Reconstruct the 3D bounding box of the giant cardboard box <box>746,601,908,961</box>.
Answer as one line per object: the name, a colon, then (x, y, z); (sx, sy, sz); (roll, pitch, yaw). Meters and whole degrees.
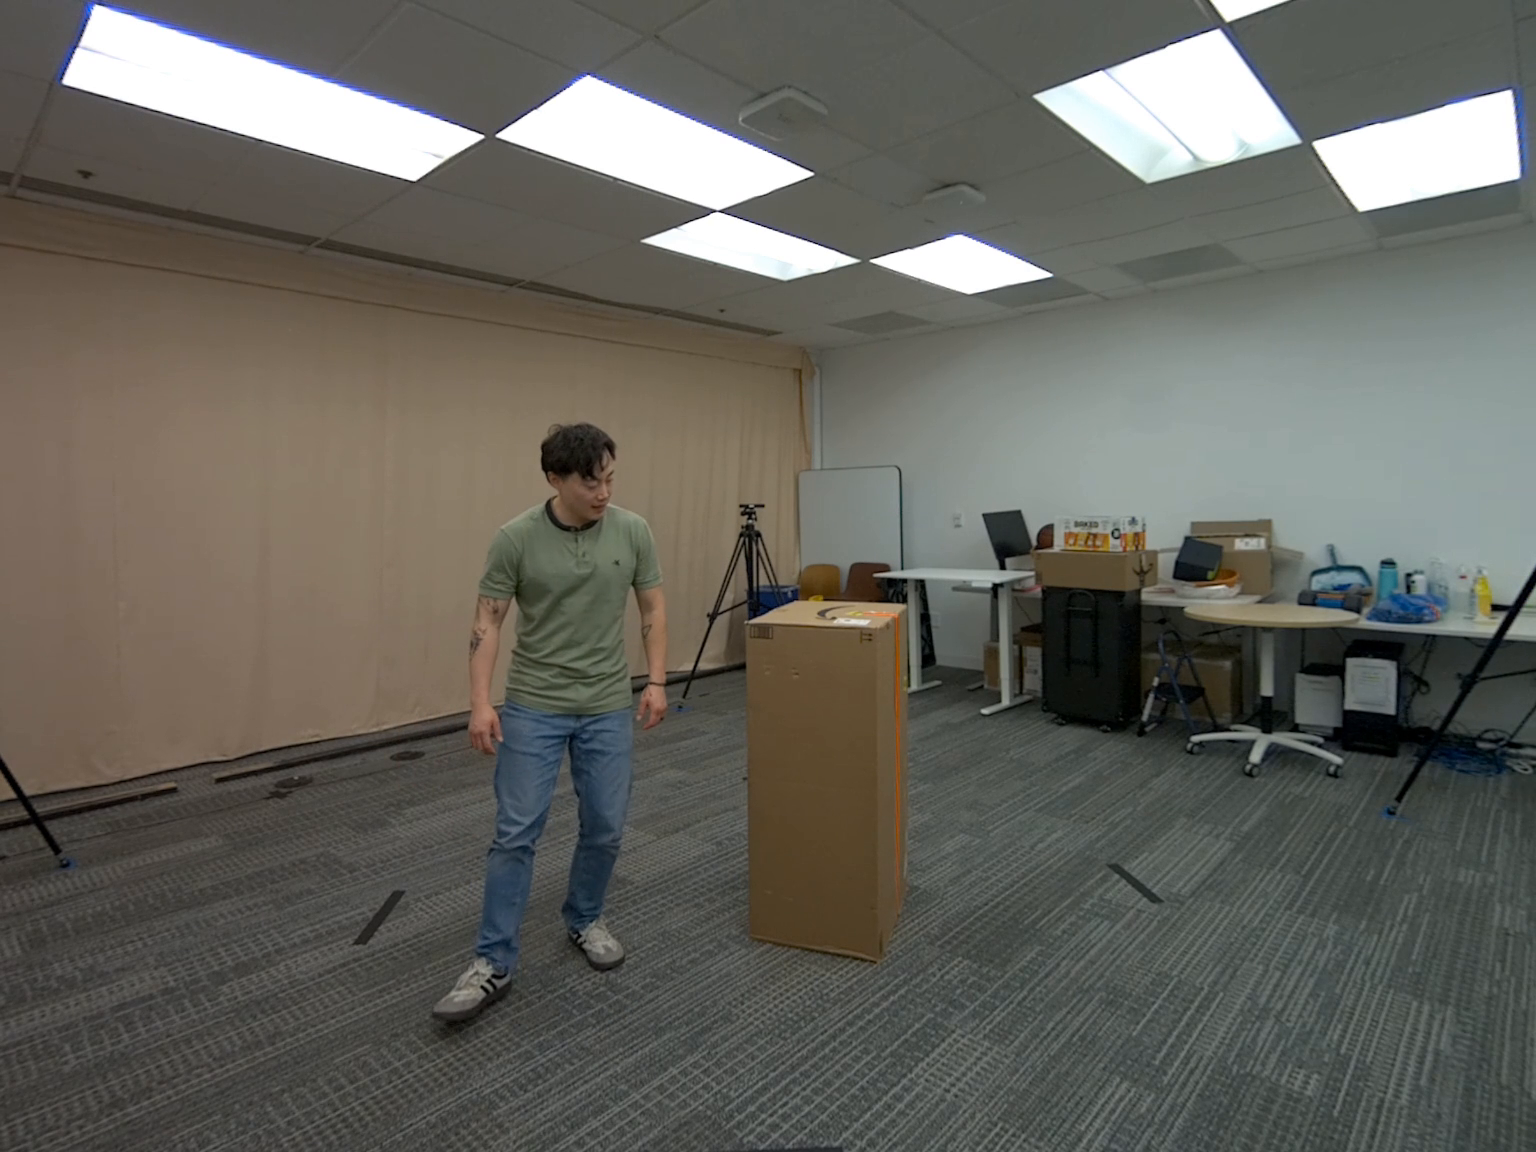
giant cardboard box: (0.227, 0.634, 2.860); (0.436, 1.023, 0.566); (1, 4, 21)
